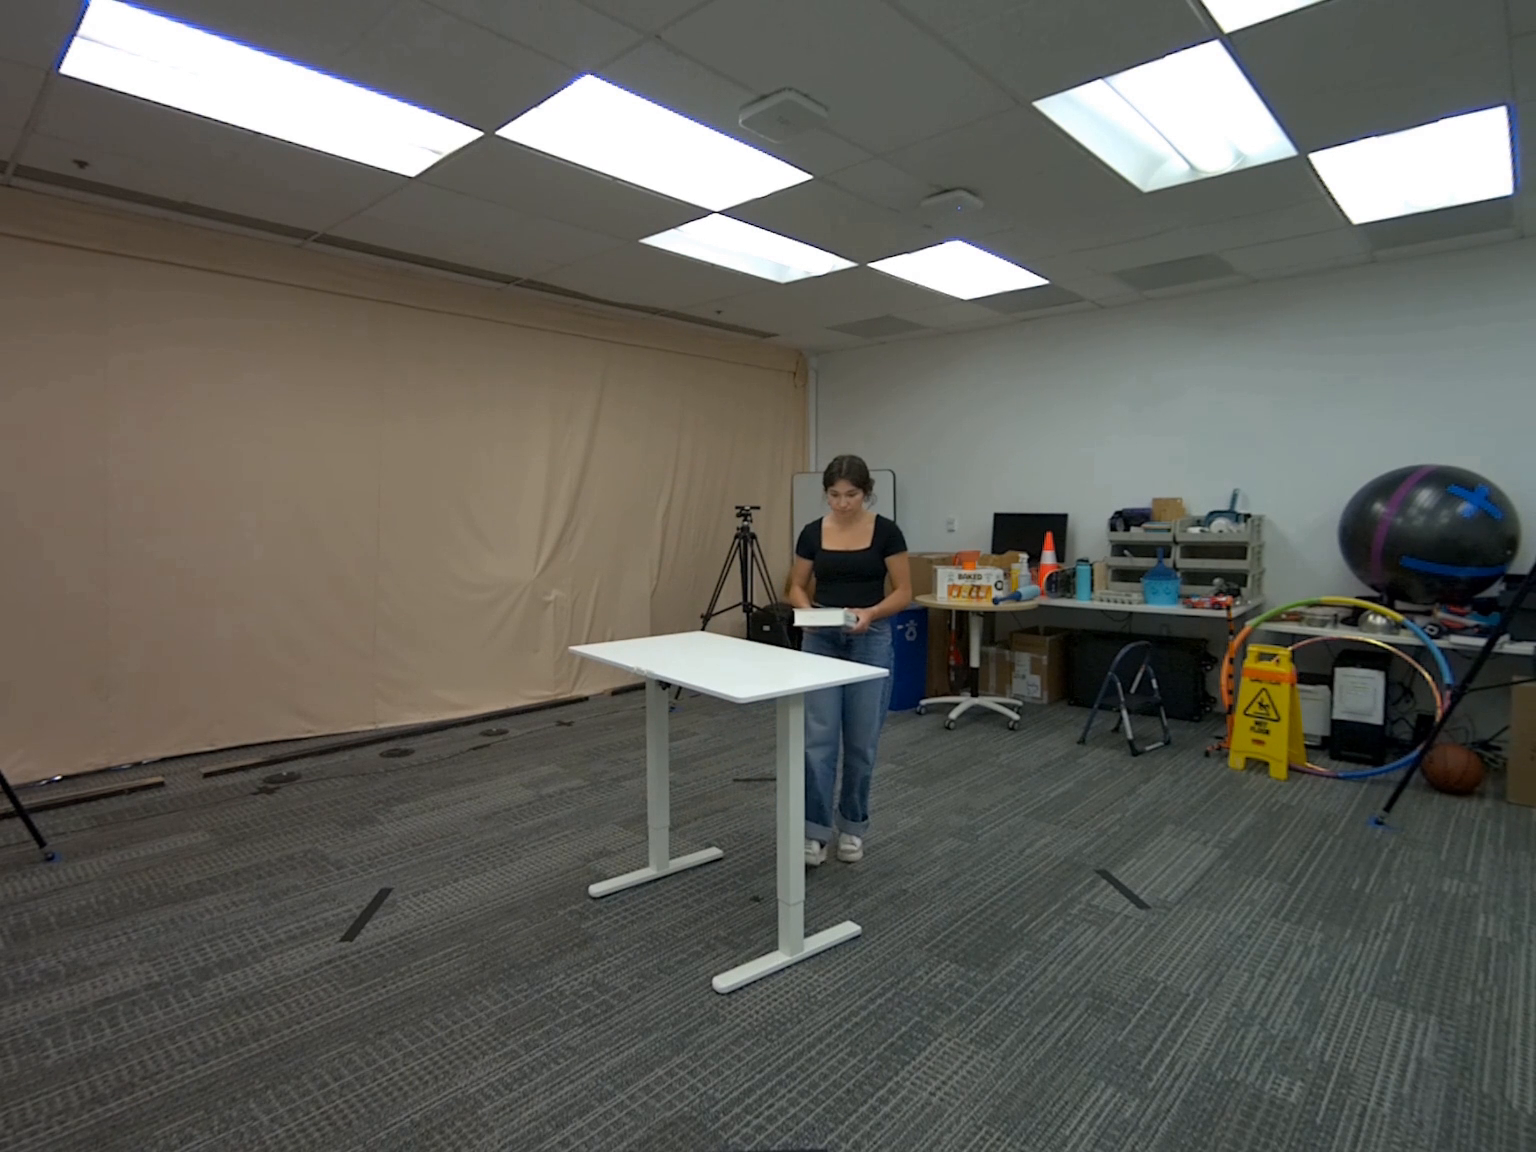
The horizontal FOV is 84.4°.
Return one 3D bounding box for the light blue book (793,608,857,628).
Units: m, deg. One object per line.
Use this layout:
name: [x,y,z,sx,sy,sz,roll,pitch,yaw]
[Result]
light blue book: [0.217,0.161,3.109,0.195,0.059,0.254,0,-8,20]
